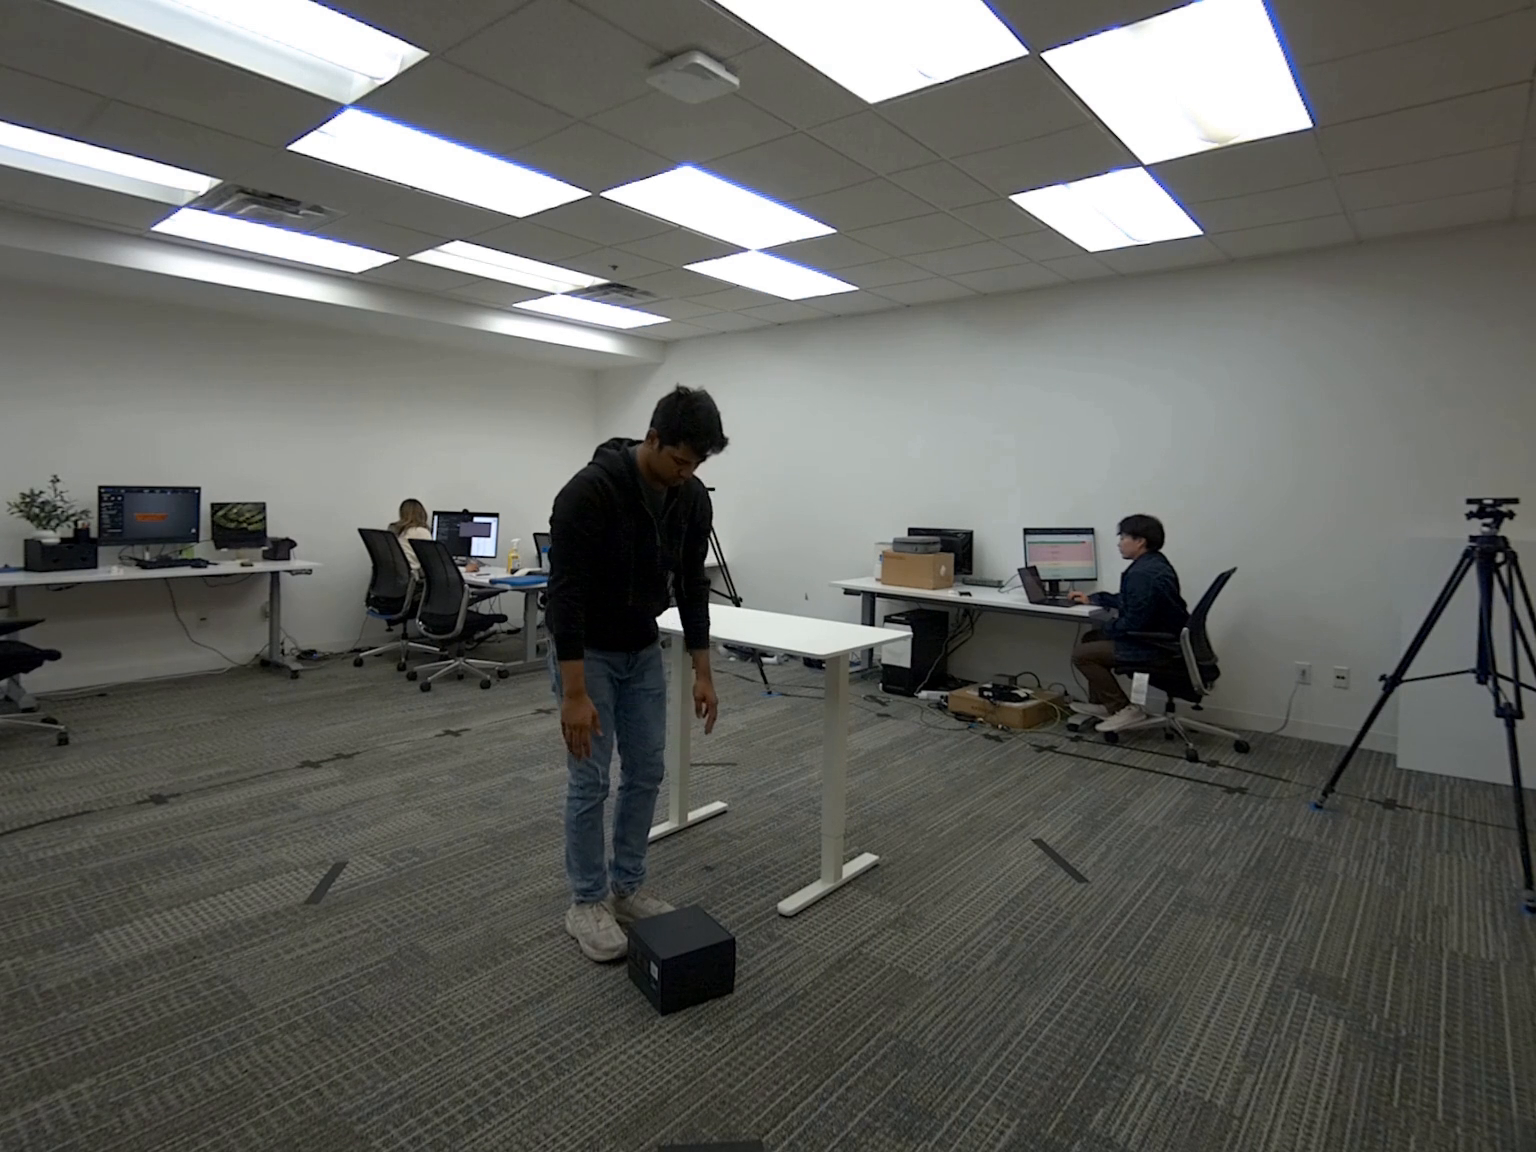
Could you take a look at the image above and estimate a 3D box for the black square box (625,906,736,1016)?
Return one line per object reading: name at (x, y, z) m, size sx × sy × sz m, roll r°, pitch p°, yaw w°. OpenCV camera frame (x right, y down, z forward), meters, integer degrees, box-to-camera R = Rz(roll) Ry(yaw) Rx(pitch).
black square box at (-0.250, 1.054, 2.372) m, size 0.221 × 0.155 × 0.224 m, roll -2°, pitch 5°, yaw -33°
